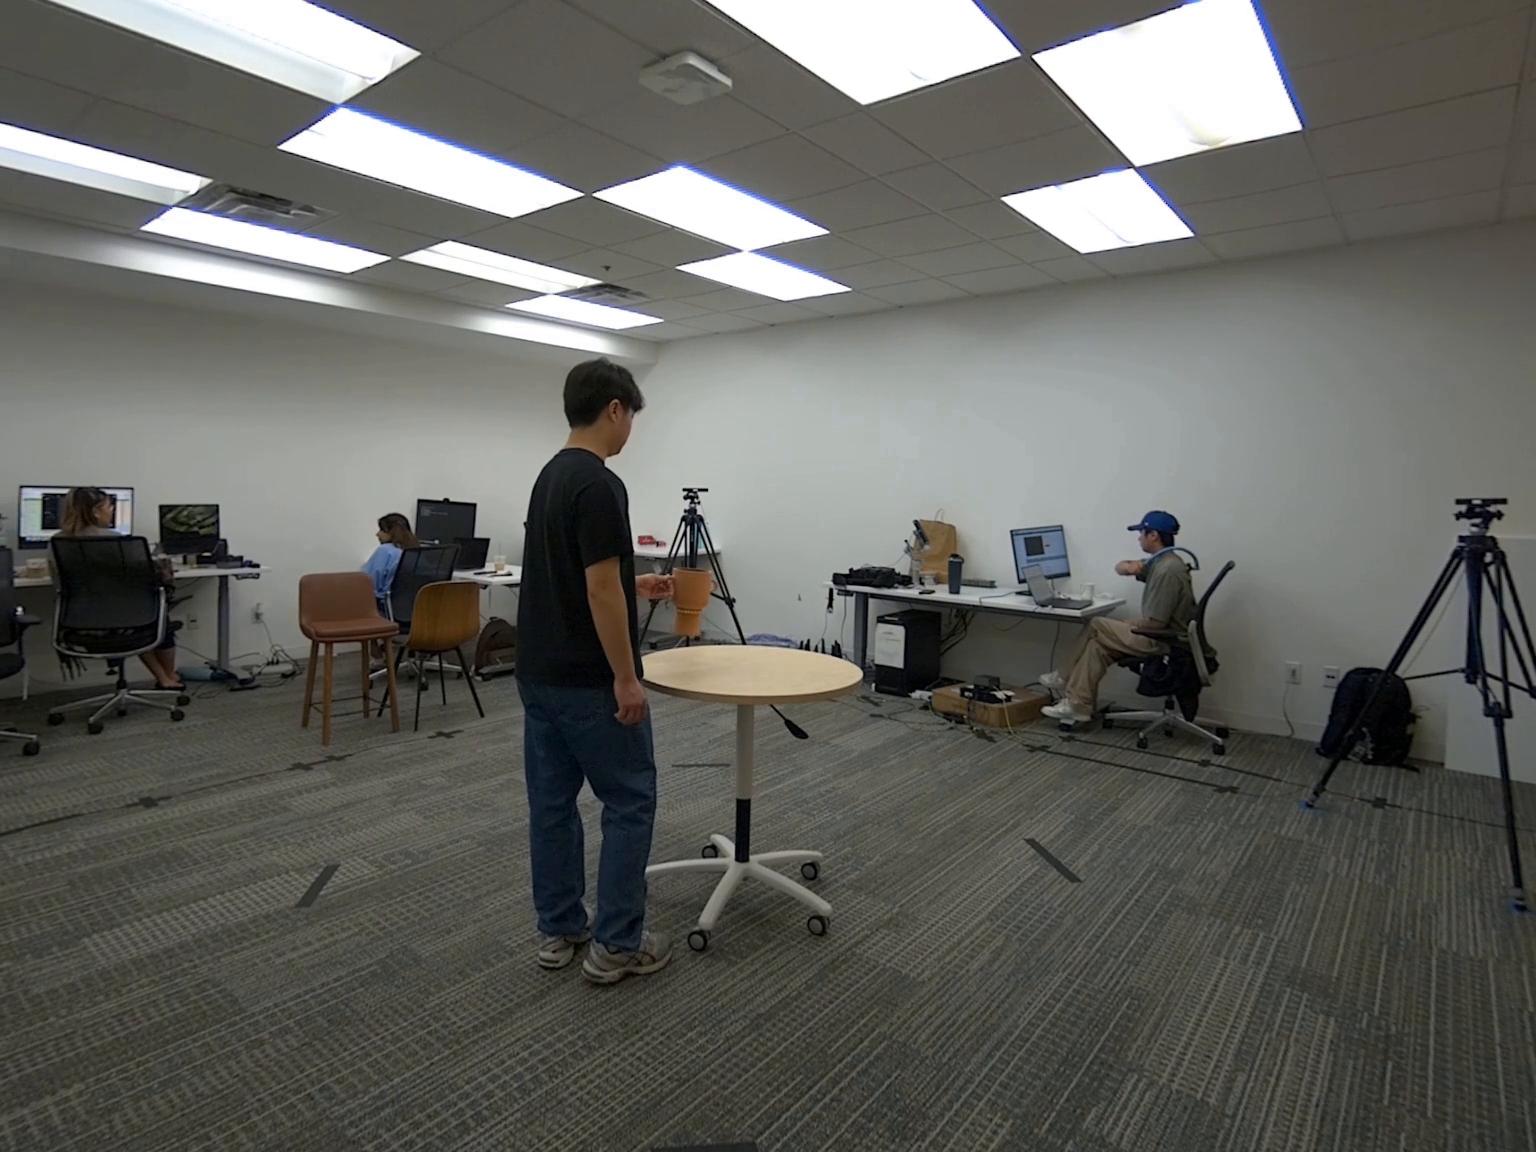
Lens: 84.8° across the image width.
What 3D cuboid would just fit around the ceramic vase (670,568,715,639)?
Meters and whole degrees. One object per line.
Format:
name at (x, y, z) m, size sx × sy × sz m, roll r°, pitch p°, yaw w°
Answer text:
ceramic vase at (-0.283, 0.084, 2.913) m, size 0.161 × 0.219 × 0.134 m, roll 6°, pitch 5°, yaw 9°
